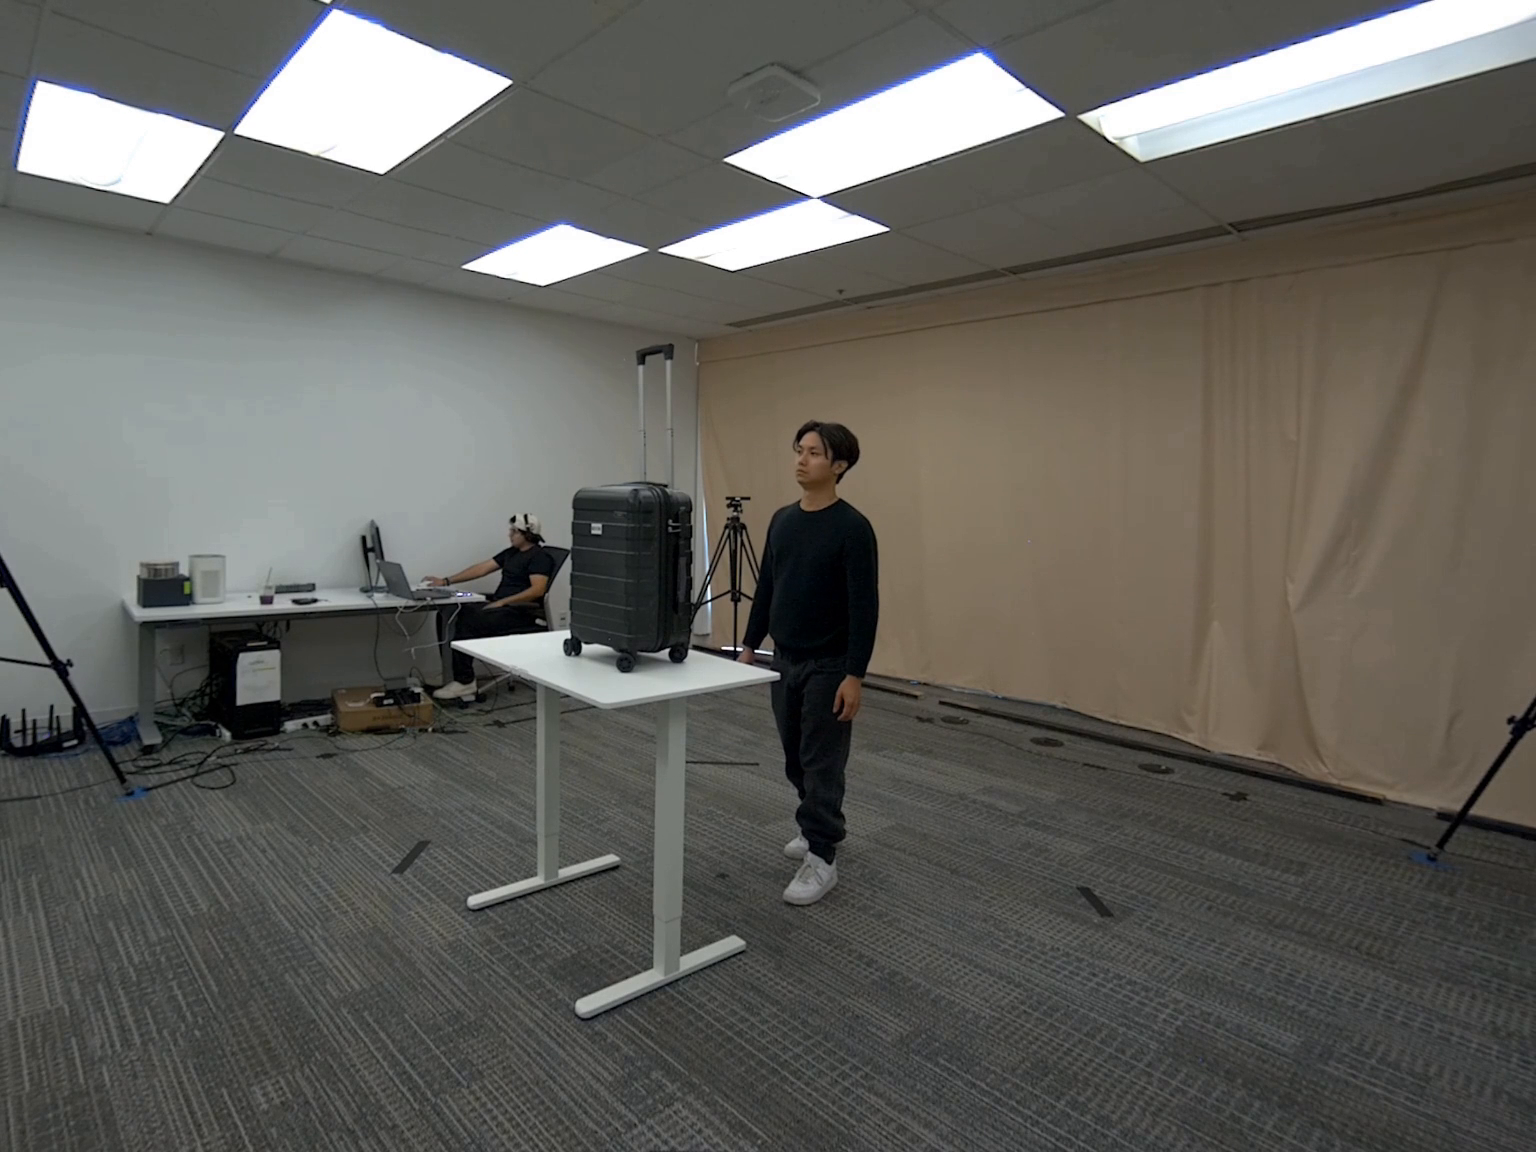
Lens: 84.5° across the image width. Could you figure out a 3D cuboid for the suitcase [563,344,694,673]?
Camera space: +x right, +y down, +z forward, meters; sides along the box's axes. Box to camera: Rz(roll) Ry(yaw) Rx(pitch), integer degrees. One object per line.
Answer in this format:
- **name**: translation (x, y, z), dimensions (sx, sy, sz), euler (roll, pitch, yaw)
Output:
- **suitcase**: translation (-0.430, -0.217, 2.587), dimensions (0.251, 0.975, 0.394), euler (-4, 6, -44)
